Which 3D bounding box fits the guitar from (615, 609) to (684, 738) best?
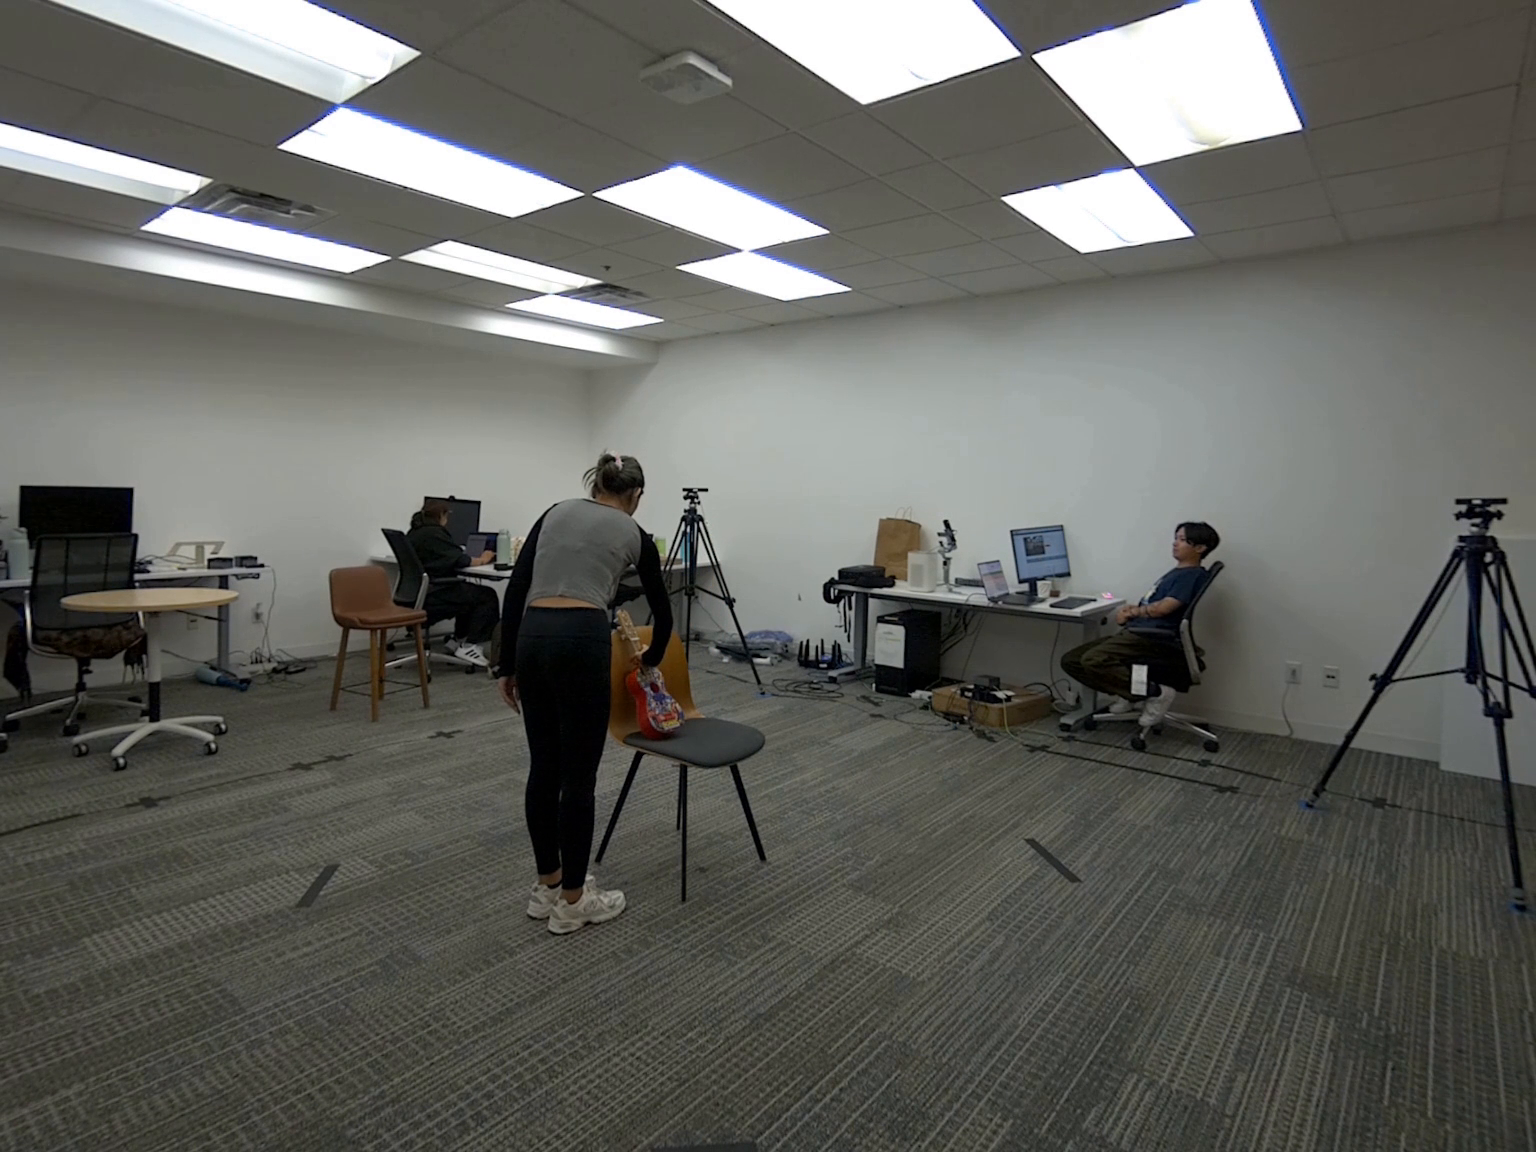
[{"bbox_3d":[-0.461,0.363,3.218,0.071,0.512,0.186,-36,-28,30],"label":"guitar"}]
